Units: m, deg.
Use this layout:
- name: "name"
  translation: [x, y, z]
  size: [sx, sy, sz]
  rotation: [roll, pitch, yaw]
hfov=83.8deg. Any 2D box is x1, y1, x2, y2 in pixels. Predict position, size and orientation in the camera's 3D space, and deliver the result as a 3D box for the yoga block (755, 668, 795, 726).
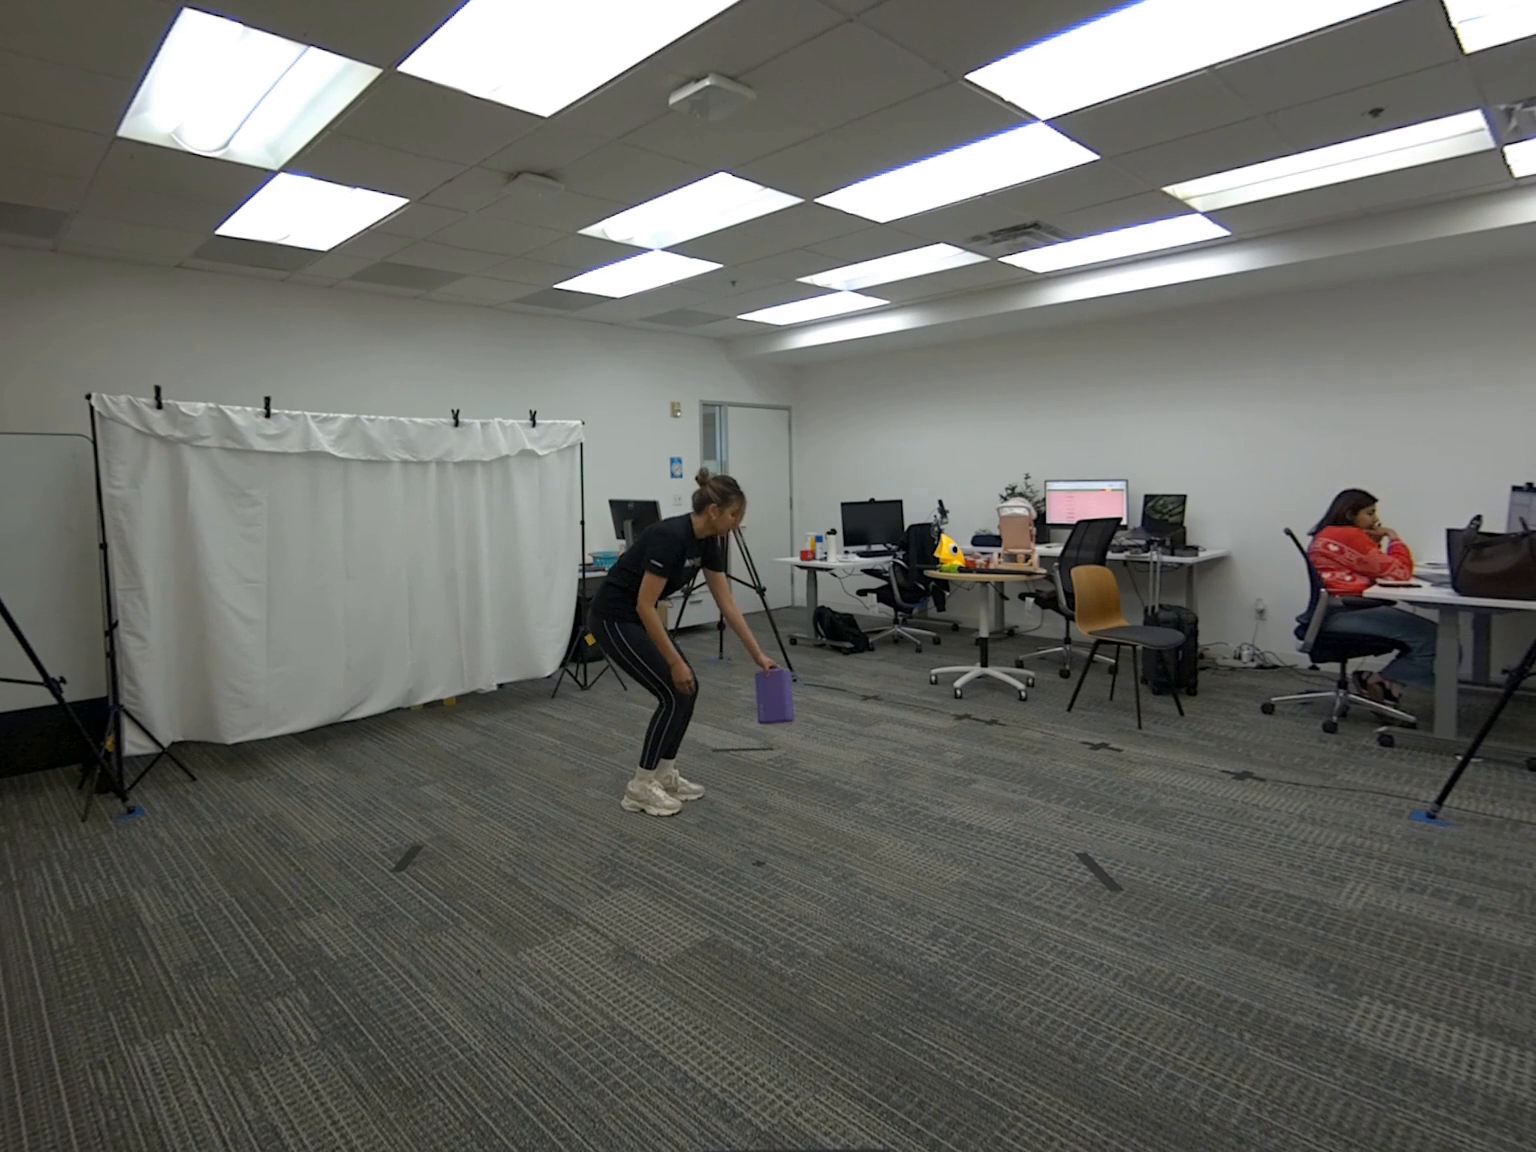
- name: "yoga block"
  translation: [0.027, 0.519, 3.740]
  size: [0.151, 0.233, 0.074]
  rotation: [-8, -16, 17]
